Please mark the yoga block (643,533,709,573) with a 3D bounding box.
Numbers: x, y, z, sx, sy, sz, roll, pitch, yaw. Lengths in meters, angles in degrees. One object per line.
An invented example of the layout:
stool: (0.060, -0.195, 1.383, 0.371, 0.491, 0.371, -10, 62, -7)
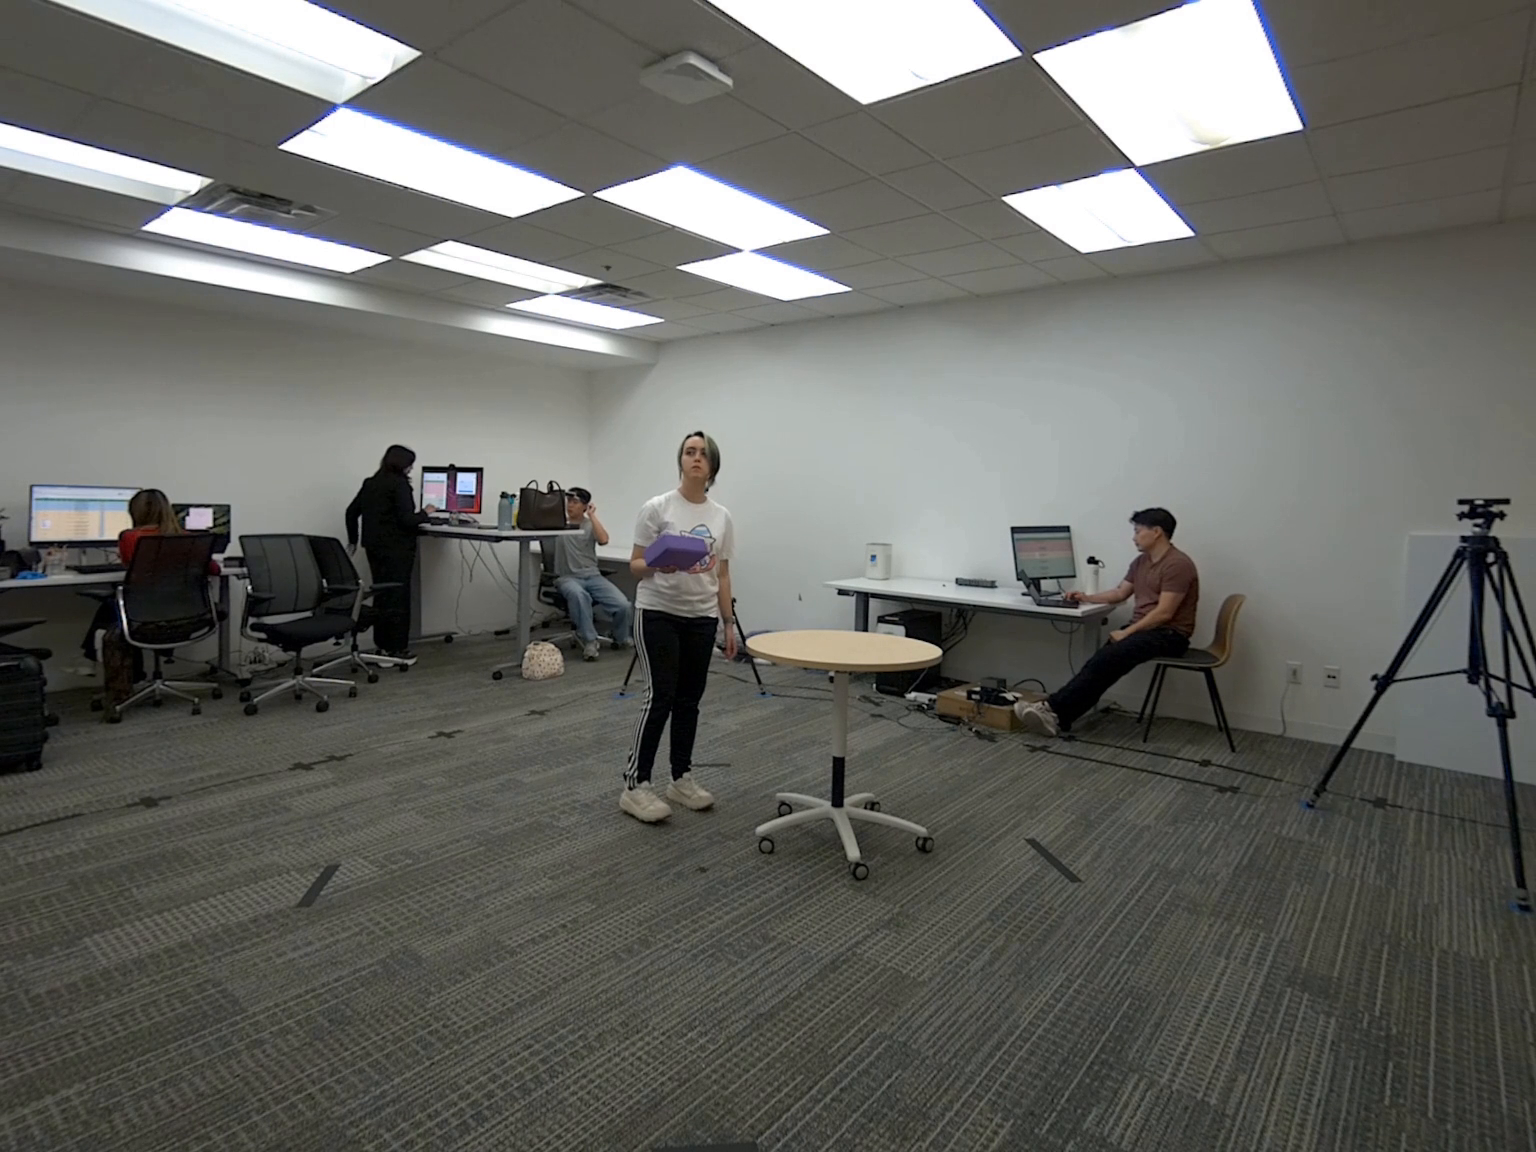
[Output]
yoga block: (-0.379, -0.098, 3.401, 0.221, 0.078, 0.150, 5, -34, -48)
